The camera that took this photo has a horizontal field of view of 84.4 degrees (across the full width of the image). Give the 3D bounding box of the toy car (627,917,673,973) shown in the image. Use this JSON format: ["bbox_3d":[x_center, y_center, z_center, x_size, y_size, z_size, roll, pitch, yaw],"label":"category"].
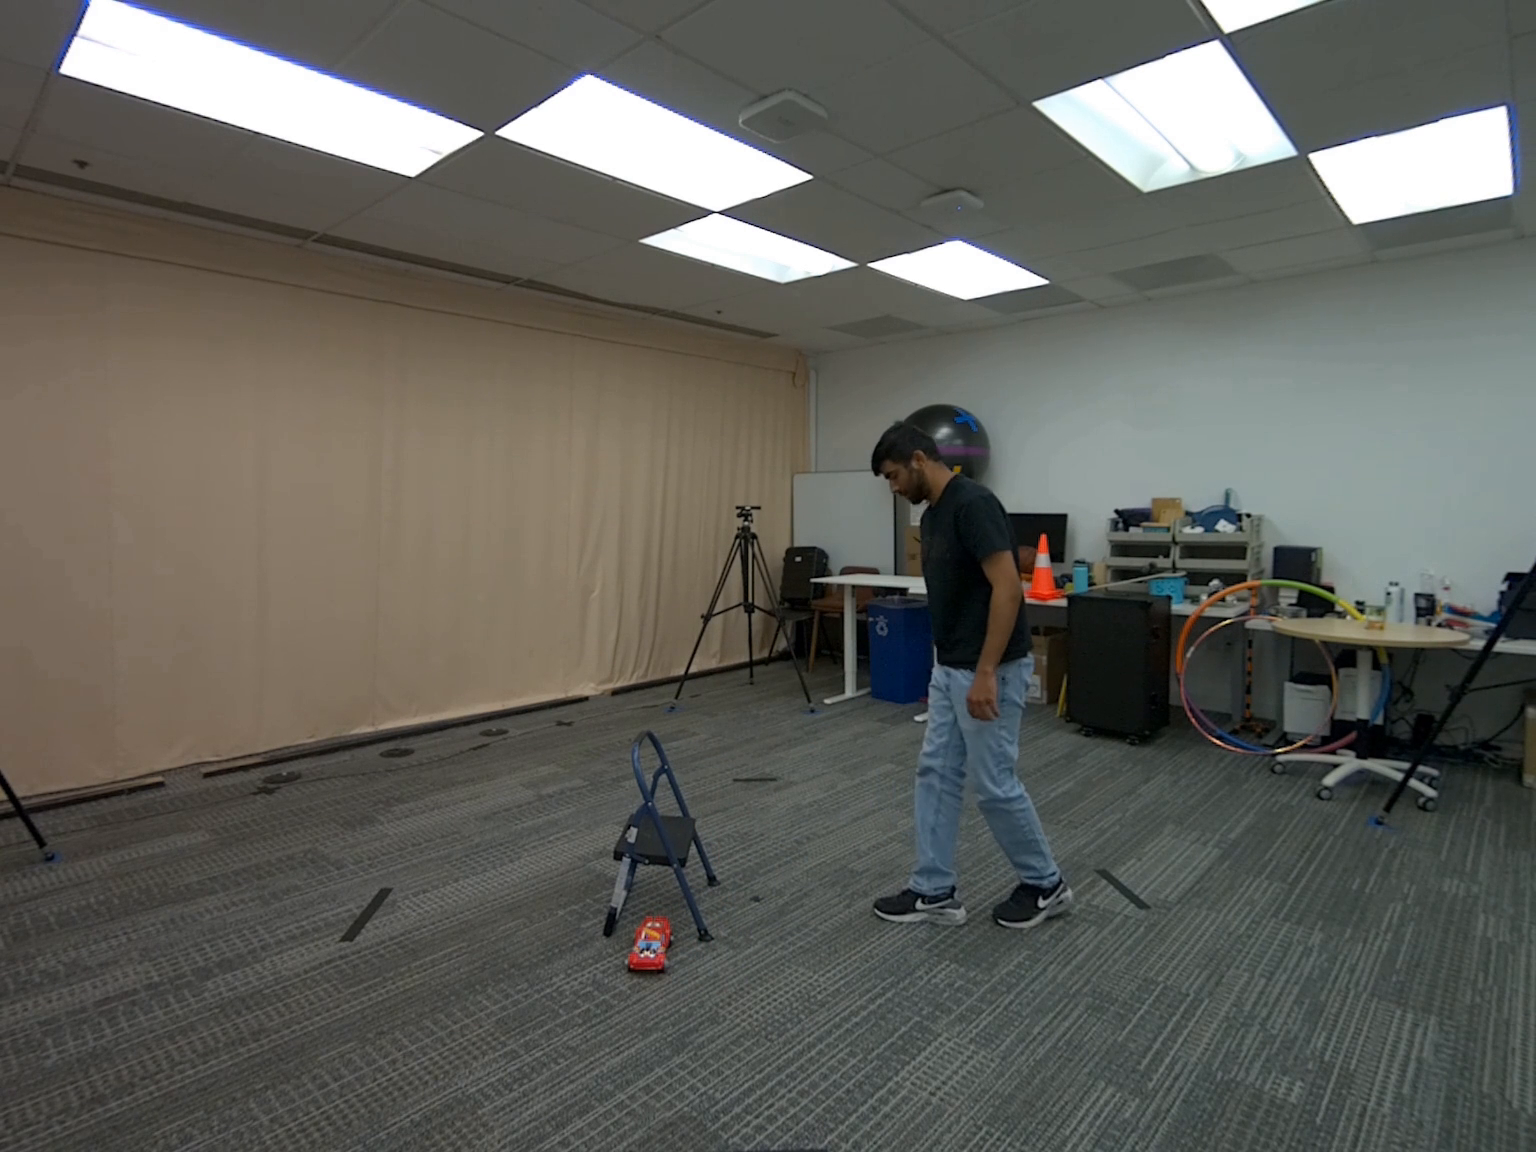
[{"bbox_3d":[-0.364,1.161,2.610,0.131,0.082,0.255,2,20,6],"label":"toy car"}]
